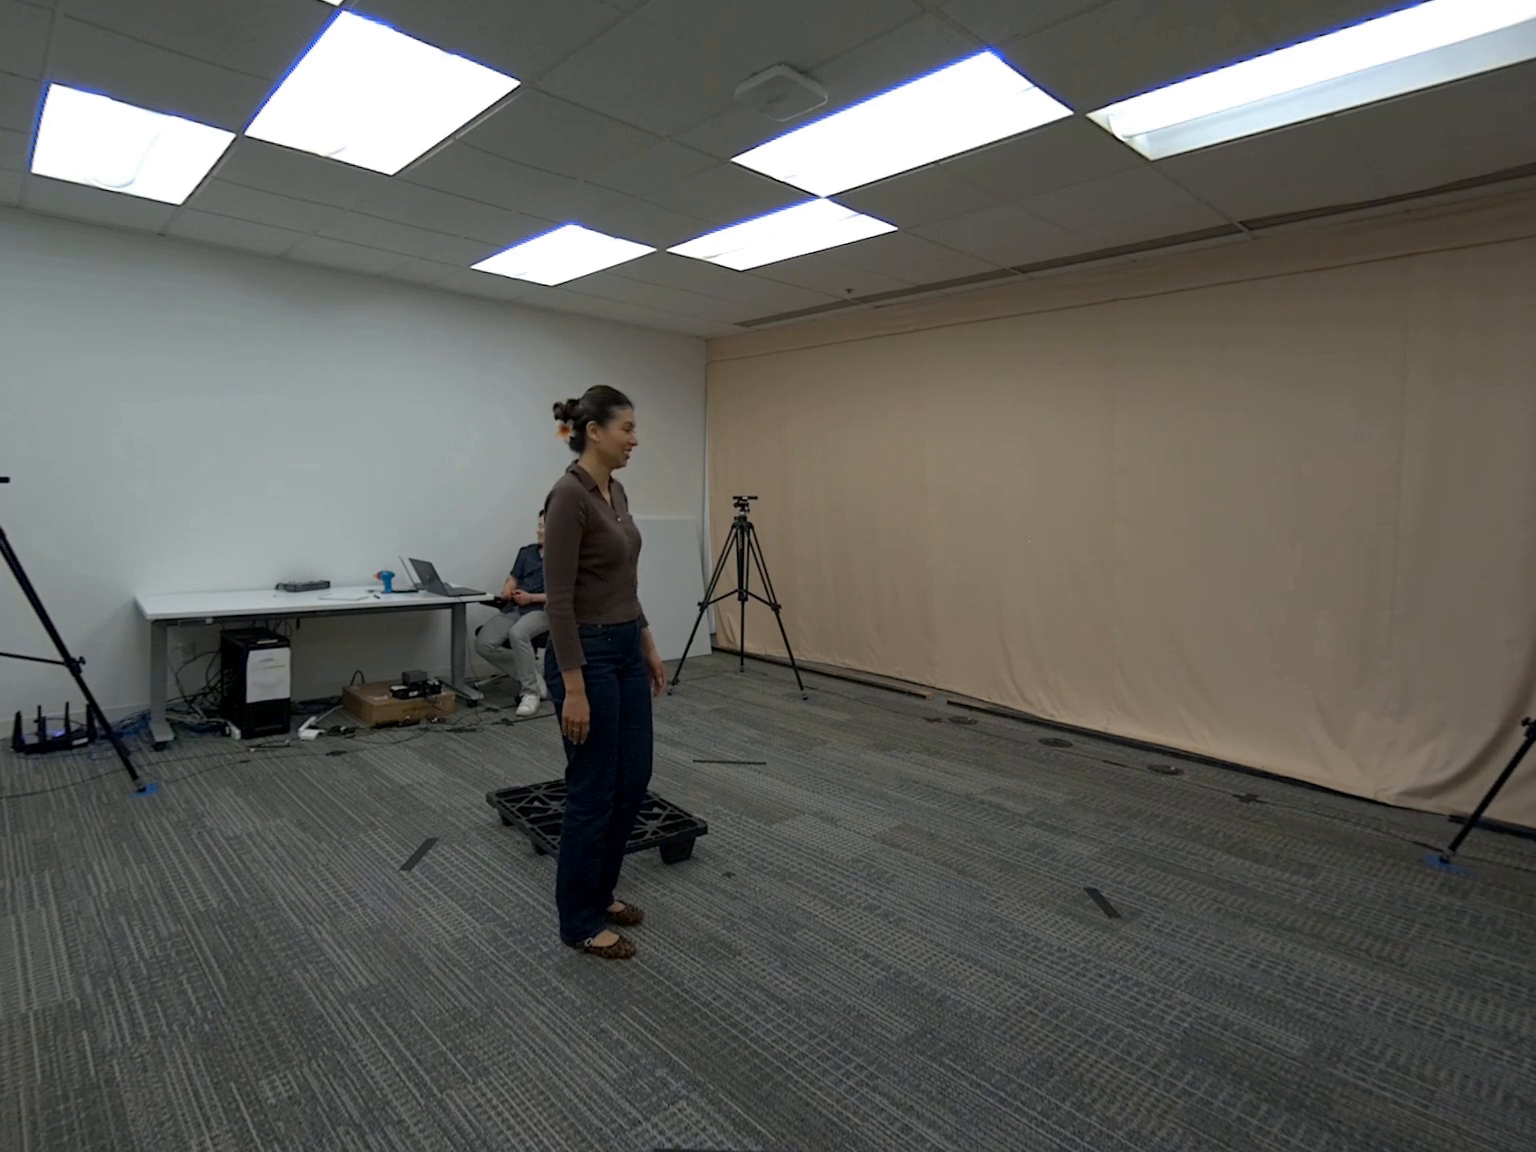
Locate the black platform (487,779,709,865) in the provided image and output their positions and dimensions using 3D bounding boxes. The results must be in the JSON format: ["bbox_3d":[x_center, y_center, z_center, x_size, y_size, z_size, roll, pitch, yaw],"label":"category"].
[{"bbox_3d":[-0.711,0.999,3.387,0.592,0.143,0.826,-2,6,-37],"label":"black platform"}]
